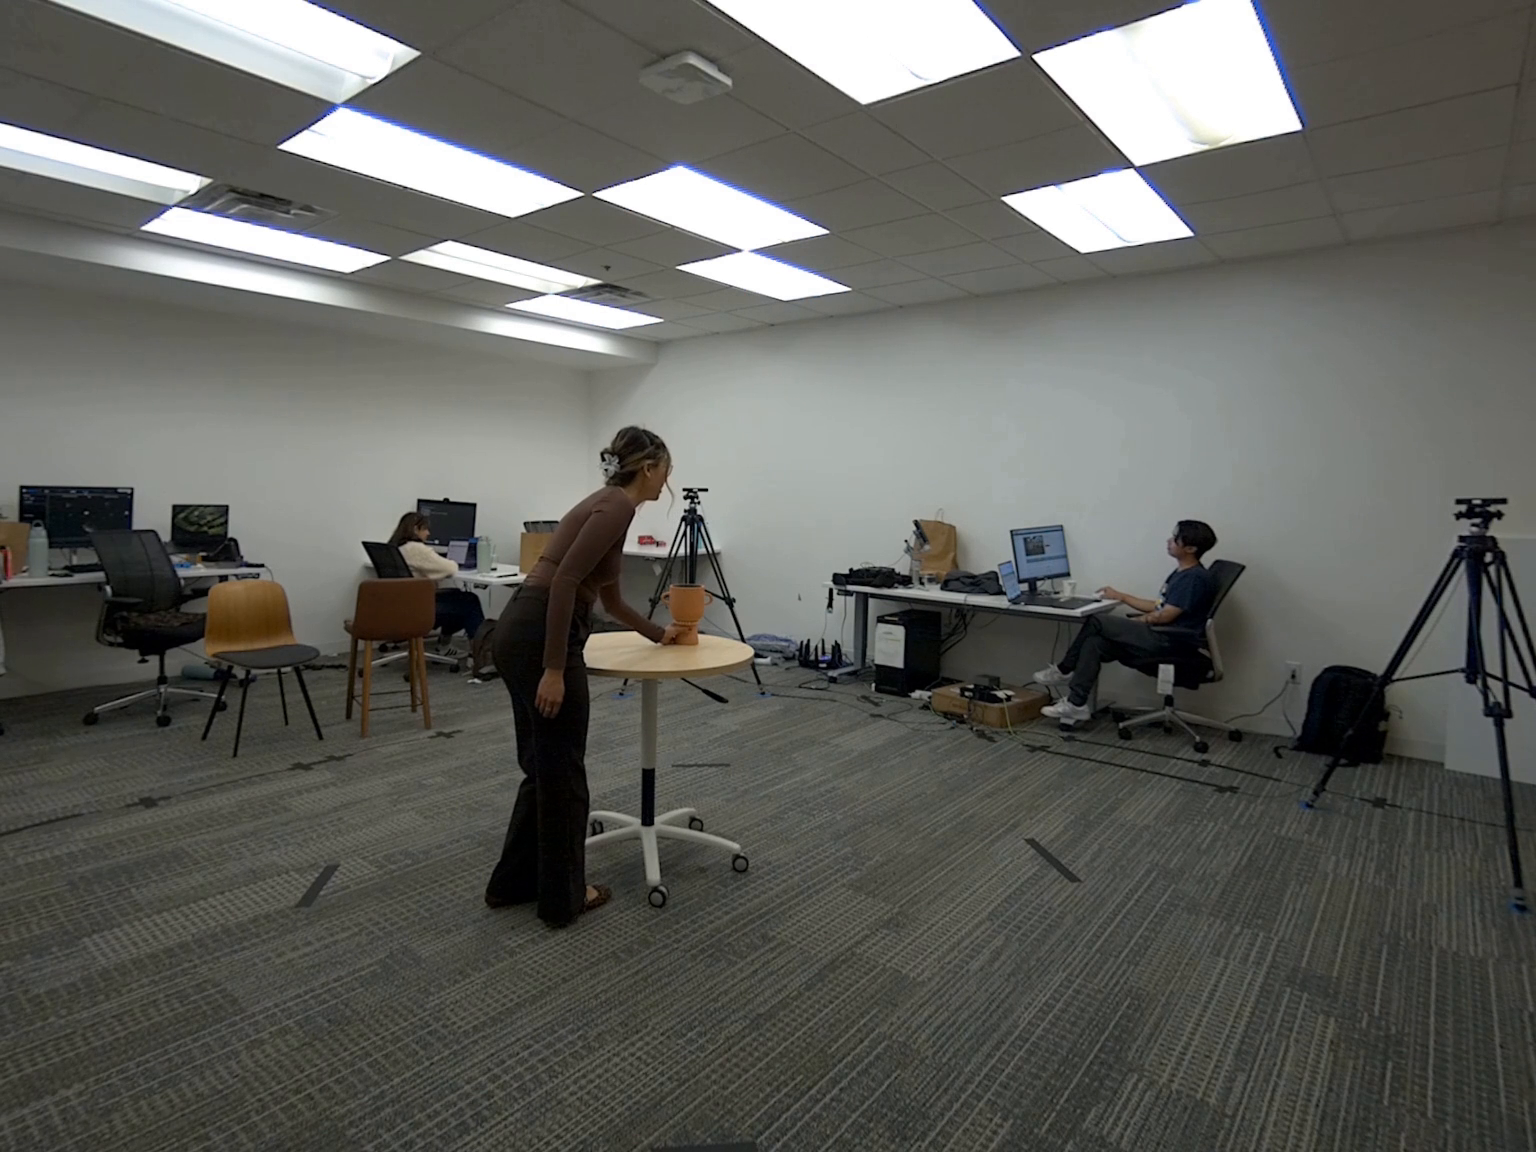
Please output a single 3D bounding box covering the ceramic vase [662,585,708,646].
[{"bbox_3d":[-0.323,0.146,3.258,0.164,0.219,0.131,5,4,31],"label":"ceramic vase"}]
